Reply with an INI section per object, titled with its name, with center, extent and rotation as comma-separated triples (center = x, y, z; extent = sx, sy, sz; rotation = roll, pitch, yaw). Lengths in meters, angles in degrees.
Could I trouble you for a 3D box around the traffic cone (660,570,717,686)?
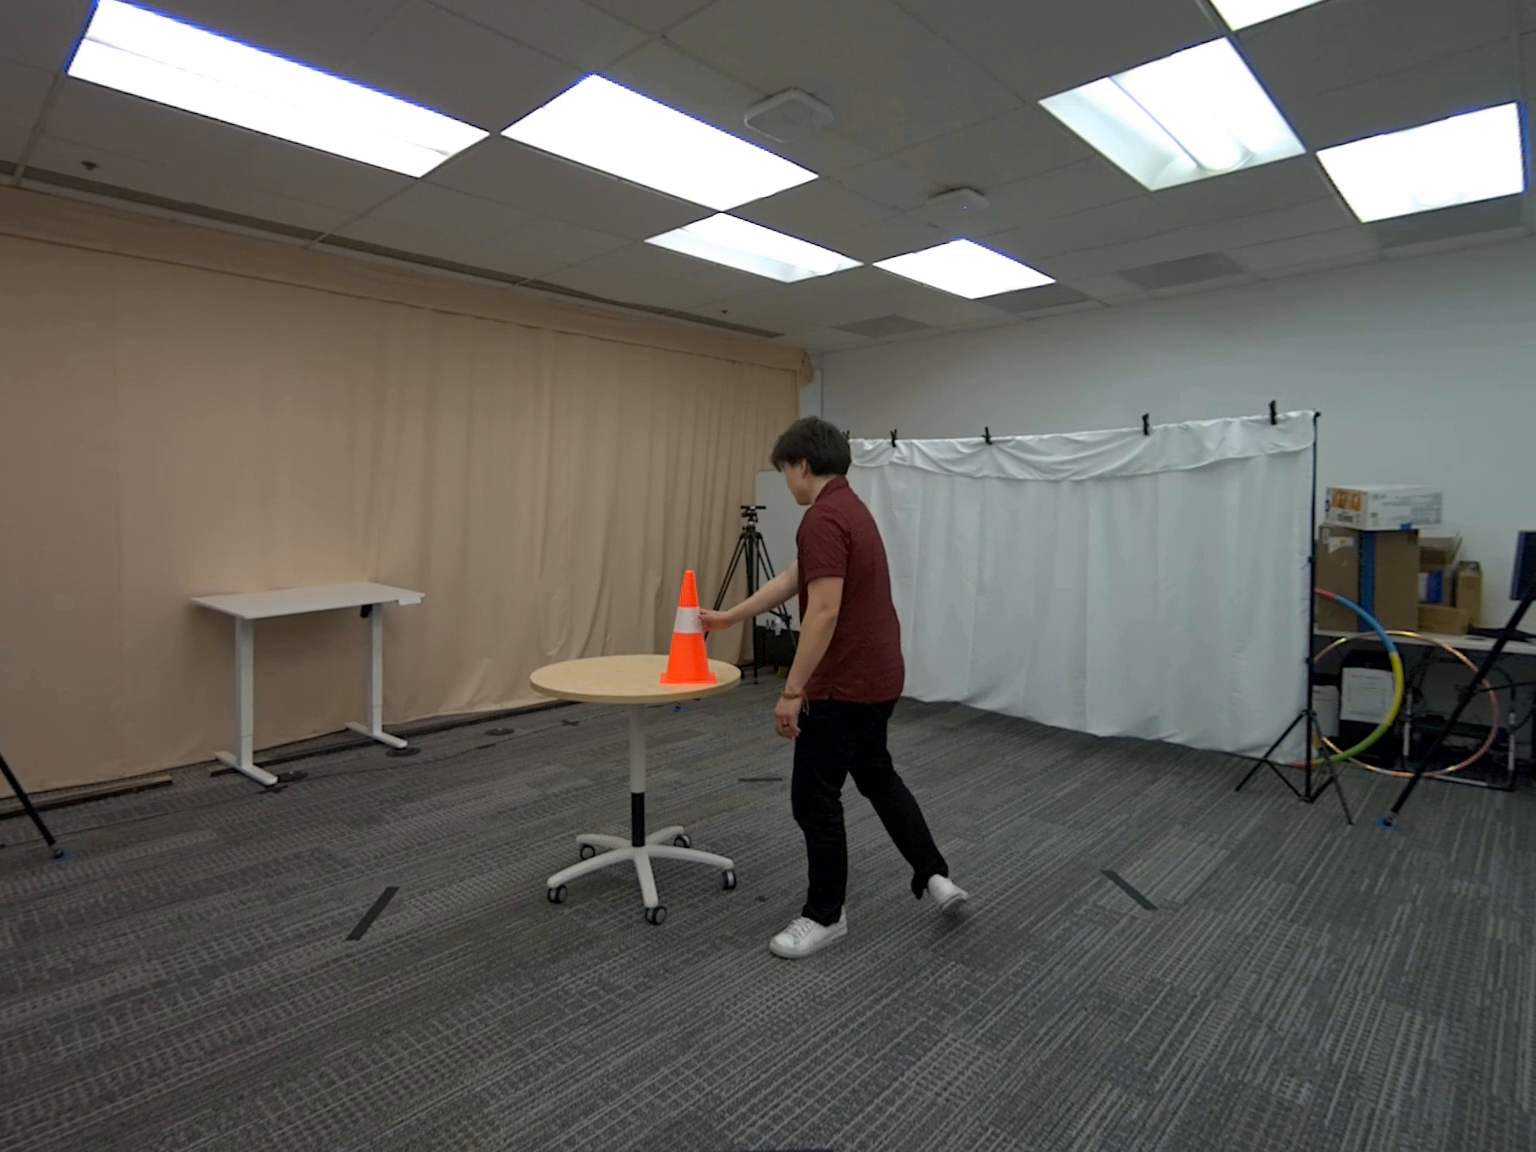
[traffic cone]
center = -0.278, 0.177, 2.973
extent = 0.203, 0.383, 0.205
rotation = 1, 4, -7
